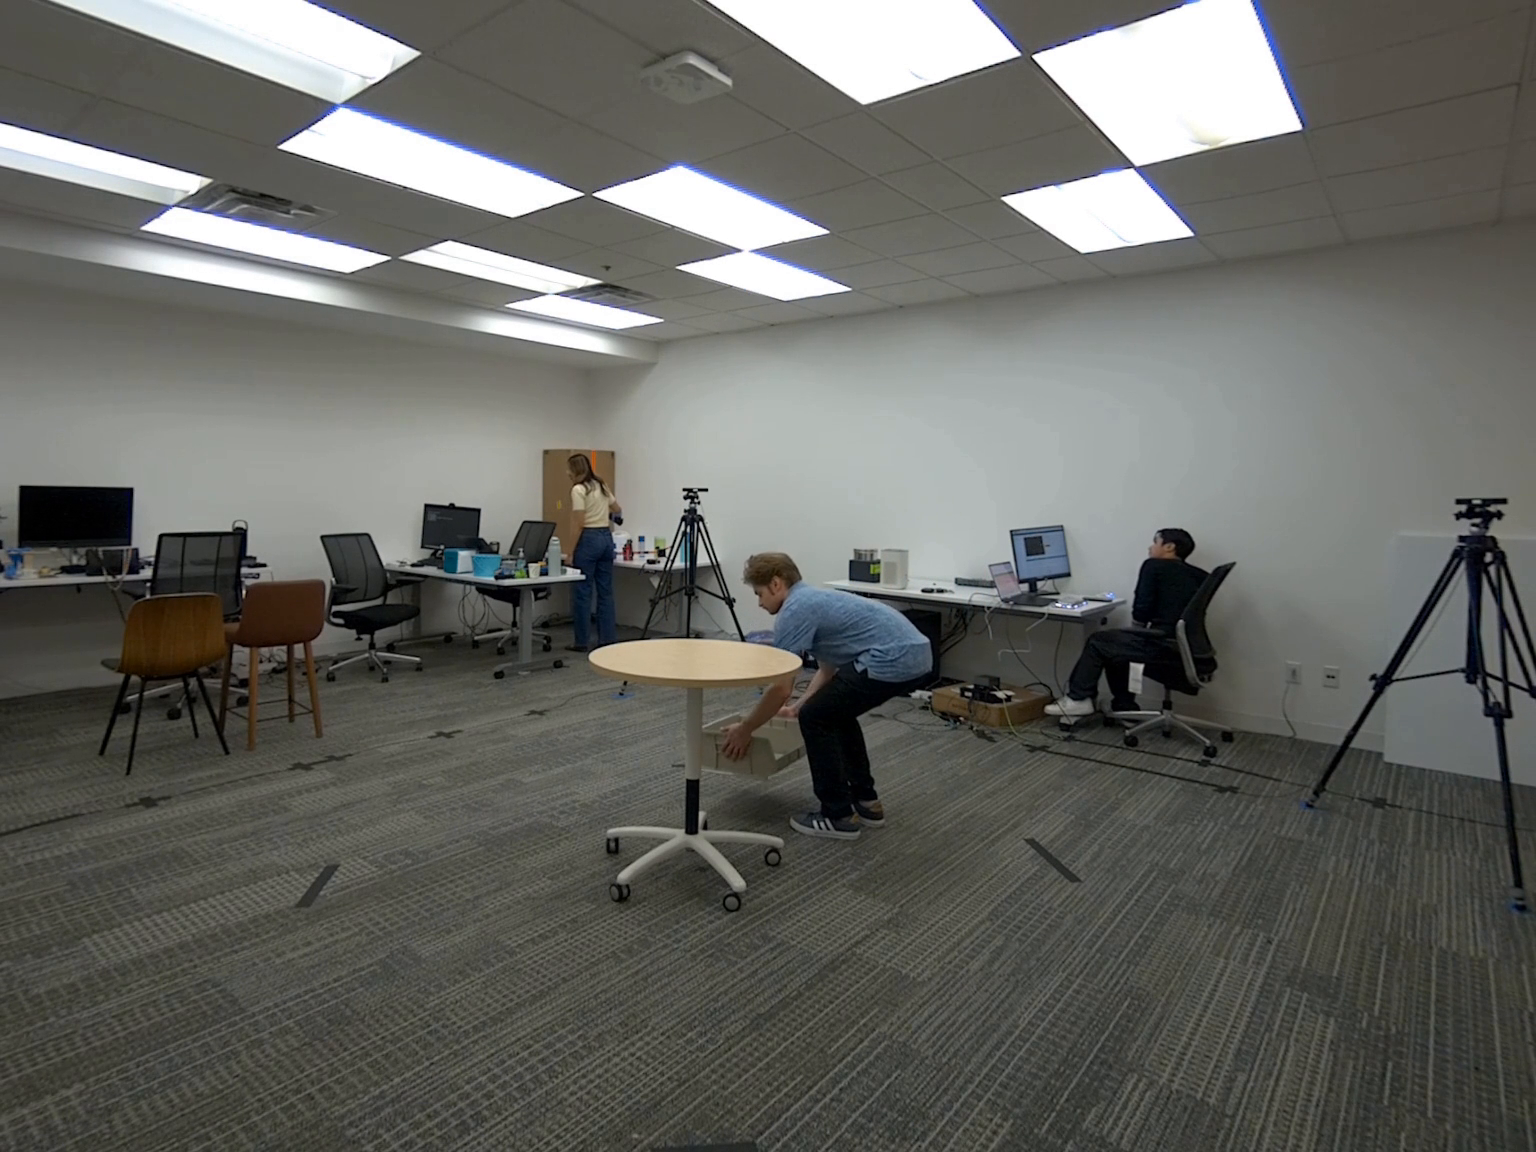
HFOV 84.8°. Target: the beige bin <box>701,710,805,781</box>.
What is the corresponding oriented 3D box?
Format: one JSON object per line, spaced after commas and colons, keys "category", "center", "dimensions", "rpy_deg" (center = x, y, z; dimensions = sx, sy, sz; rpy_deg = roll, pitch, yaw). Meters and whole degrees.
{"category": "beige bin", "center": [-0.069, 0.747, 3.768], "dimensions": [0.387, 0.189, 0.412], "rpy_deg": [-1, 2, 26]}
